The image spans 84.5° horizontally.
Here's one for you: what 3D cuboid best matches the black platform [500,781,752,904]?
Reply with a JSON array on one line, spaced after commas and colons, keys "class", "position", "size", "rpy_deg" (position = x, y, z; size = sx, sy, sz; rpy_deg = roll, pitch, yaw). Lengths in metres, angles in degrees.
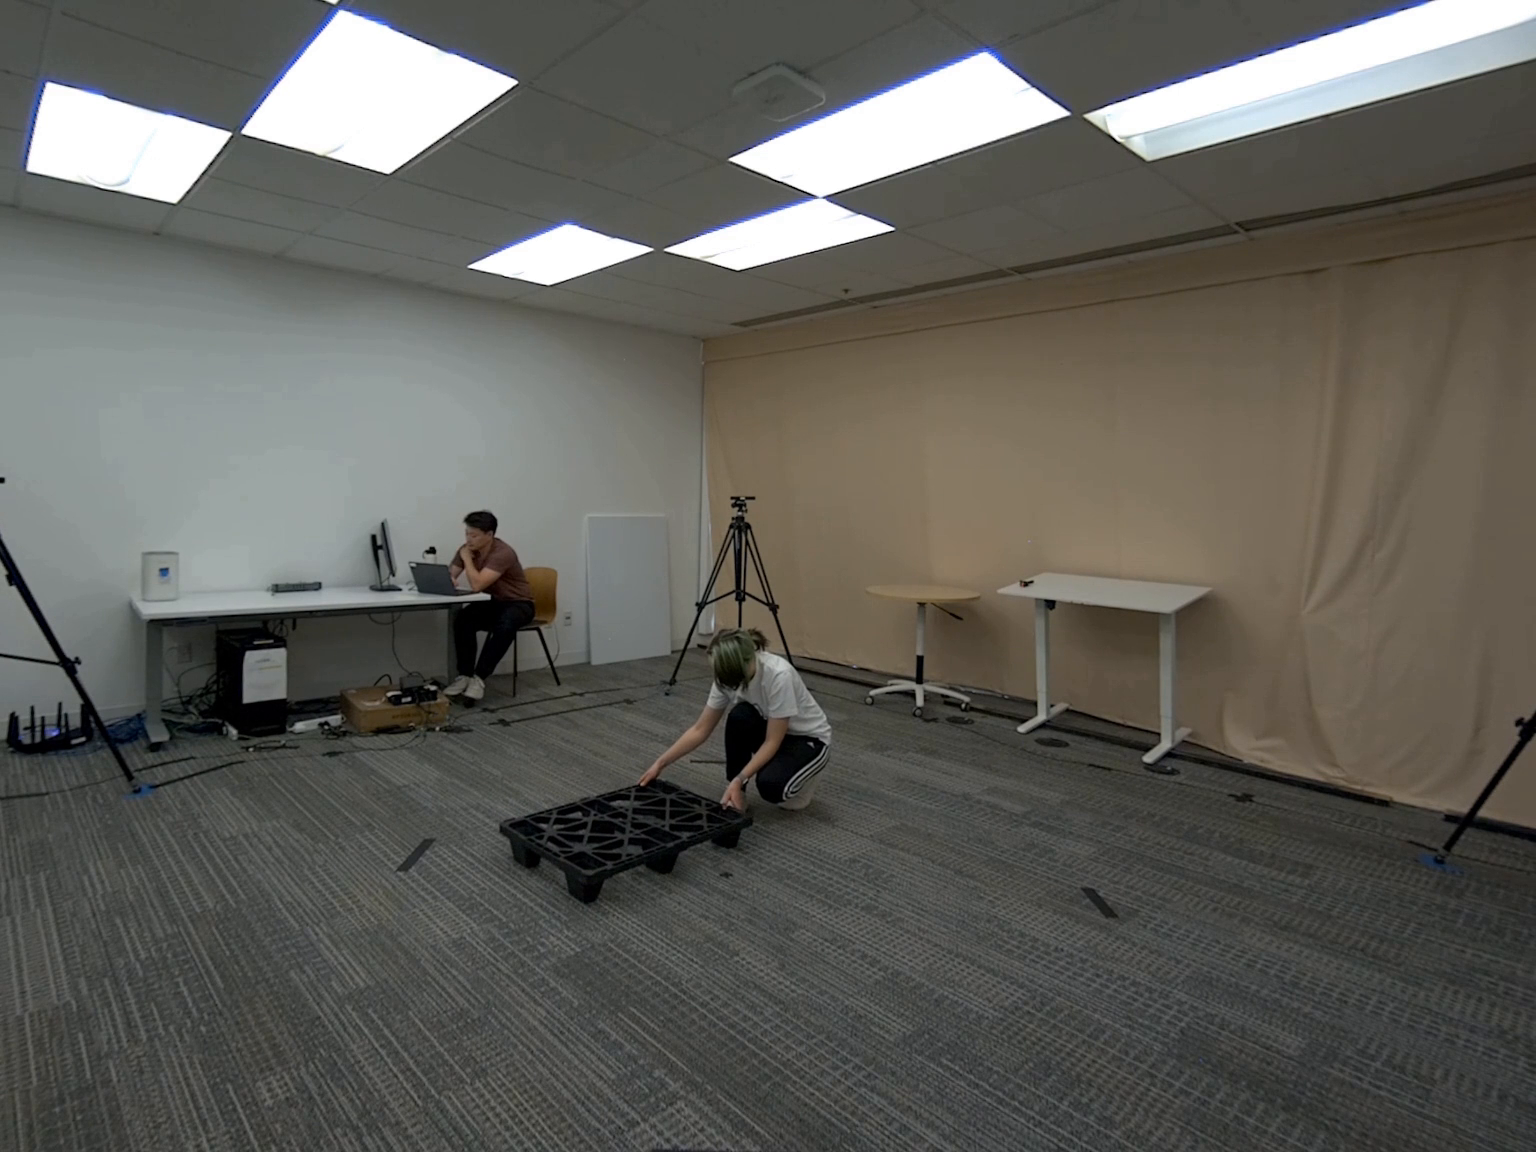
[{"class": "black platform", "position": [-0.546, 1.013, 3.274], "size": [0.621, 0.143, 0.787], "rpy_deg": [7, 8, 44]}]
